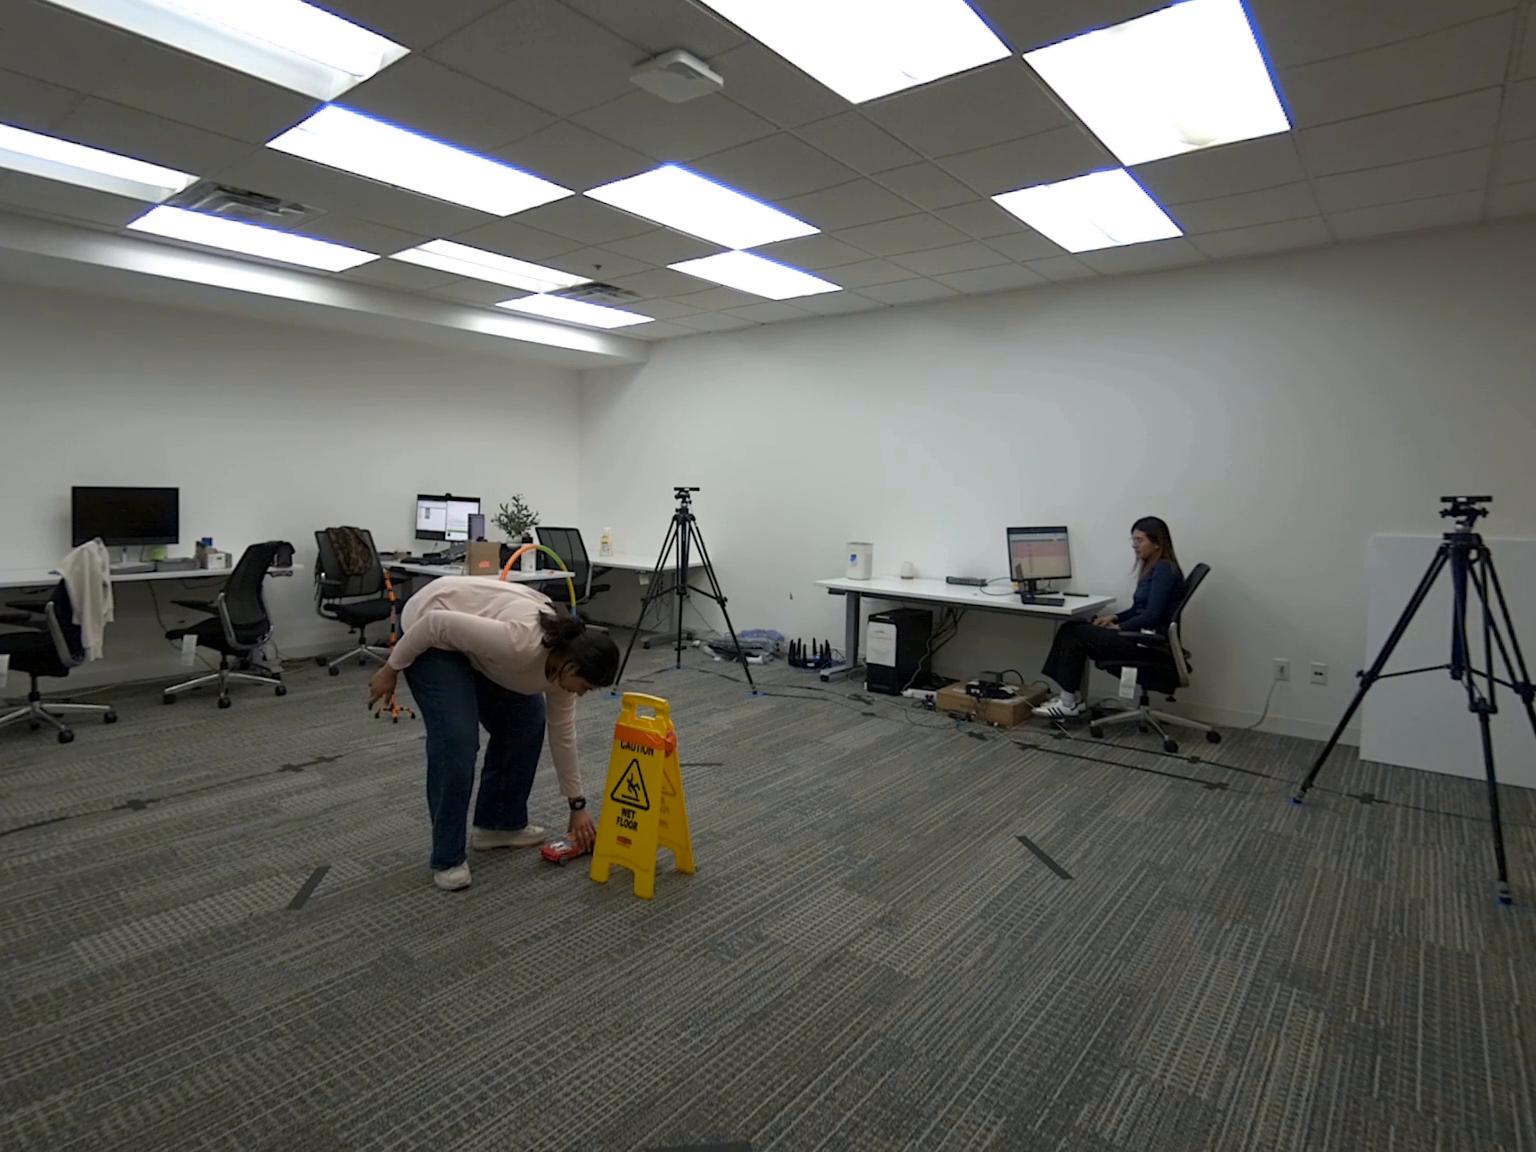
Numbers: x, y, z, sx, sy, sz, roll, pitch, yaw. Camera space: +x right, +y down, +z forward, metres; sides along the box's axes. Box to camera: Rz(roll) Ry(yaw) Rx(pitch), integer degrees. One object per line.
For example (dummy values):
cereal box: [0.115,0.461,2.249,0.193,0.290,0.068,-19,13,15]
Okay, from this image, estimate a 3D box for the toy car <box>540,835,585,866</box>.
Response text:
toy car: [-0.747,1.015,3.210,0.134,0.082,0.249,2,13,40]
